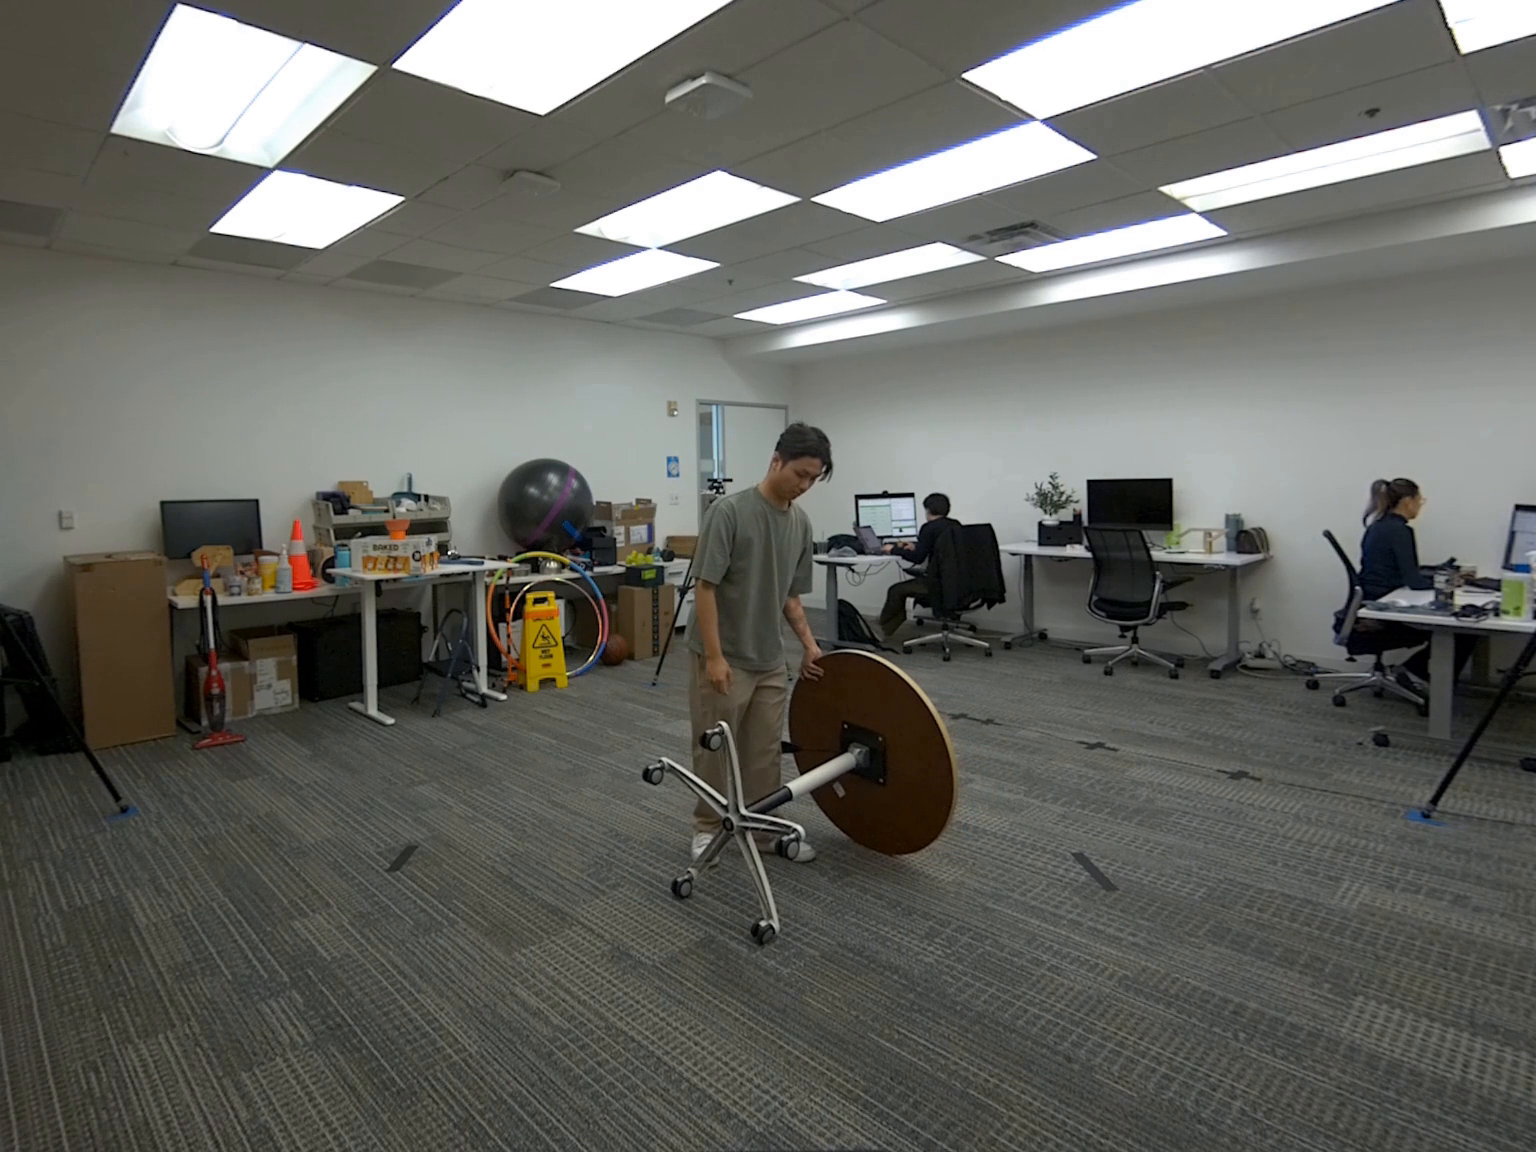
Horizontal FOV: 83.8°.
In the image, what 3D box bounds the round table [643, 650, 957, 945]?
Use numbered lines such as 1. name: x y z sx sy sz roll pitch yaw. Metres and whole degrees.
1. round table: 0.103 0.731 2.903 0.770 0.778 0.809 -15 13 -42
